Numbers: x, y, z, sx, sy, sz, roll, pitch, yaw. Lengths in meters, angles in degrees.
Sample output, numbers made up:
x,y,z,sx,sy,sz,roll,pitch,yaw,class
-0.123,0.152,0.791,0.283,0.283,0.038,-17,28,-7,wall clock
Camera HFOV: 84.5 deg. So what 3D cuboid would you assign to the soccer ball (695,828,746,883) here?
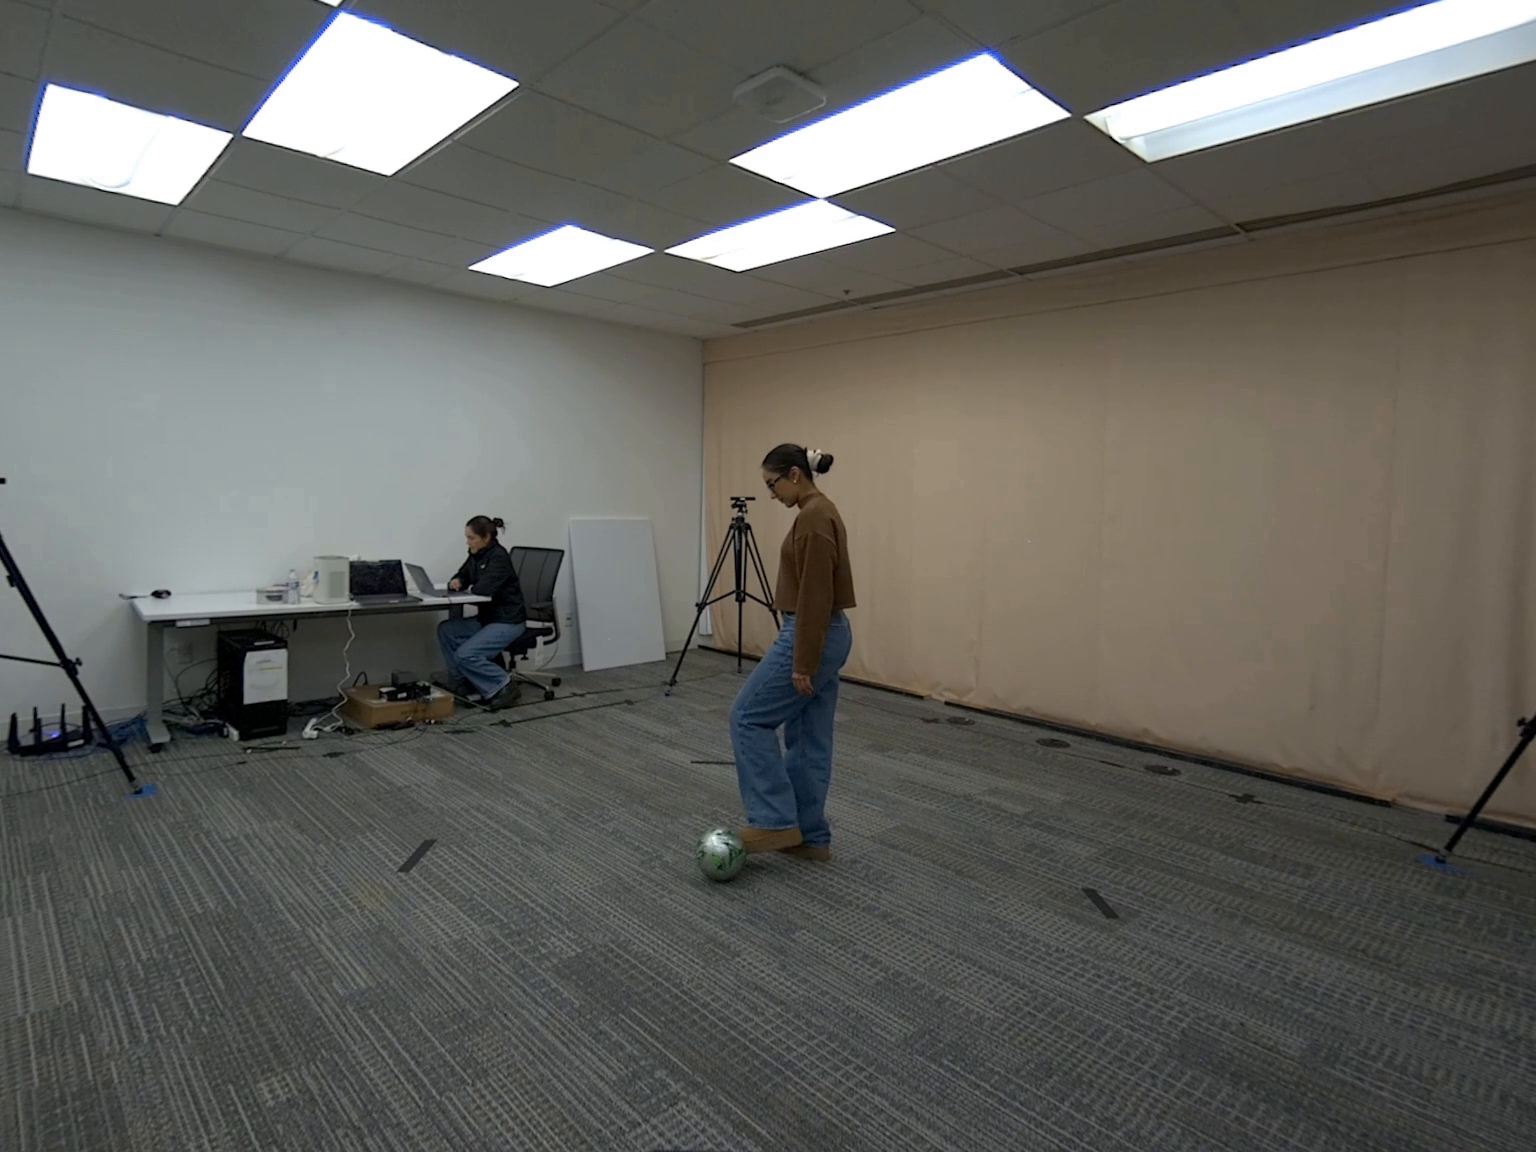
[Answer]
x,y,z,sx,sy,sz,roll,pitch,yaw,class
-0.183,1.013,3.074,0.187,0.187,0.188,1,4,-1,soccer ball
